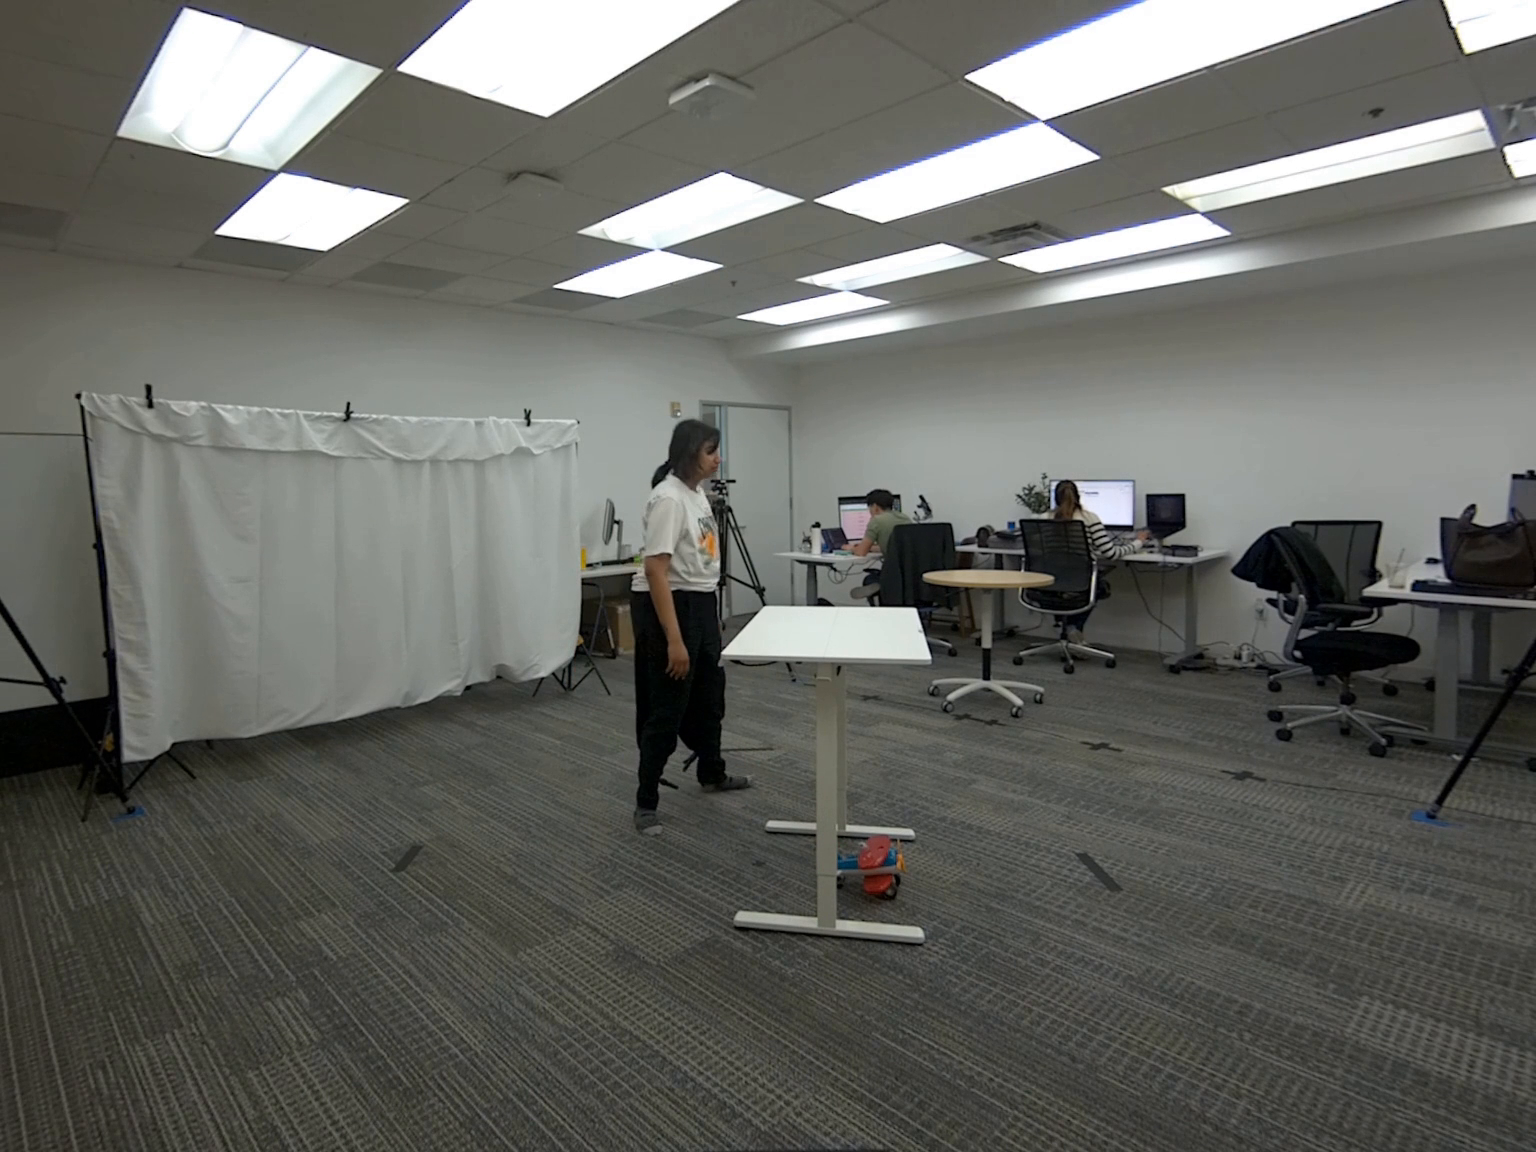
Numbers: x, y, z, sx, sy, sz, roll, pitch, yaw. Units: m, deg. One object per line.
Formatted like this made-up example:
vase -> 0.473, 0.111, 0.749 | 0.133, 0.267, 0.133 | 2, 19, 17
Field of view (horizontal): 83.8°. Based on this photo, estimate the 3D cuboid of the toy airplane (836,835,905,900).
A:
toy airplane -> 0.336, 0.993, 2.880 | 0.257, 0.156, 0.254 | -1, 5, -9
